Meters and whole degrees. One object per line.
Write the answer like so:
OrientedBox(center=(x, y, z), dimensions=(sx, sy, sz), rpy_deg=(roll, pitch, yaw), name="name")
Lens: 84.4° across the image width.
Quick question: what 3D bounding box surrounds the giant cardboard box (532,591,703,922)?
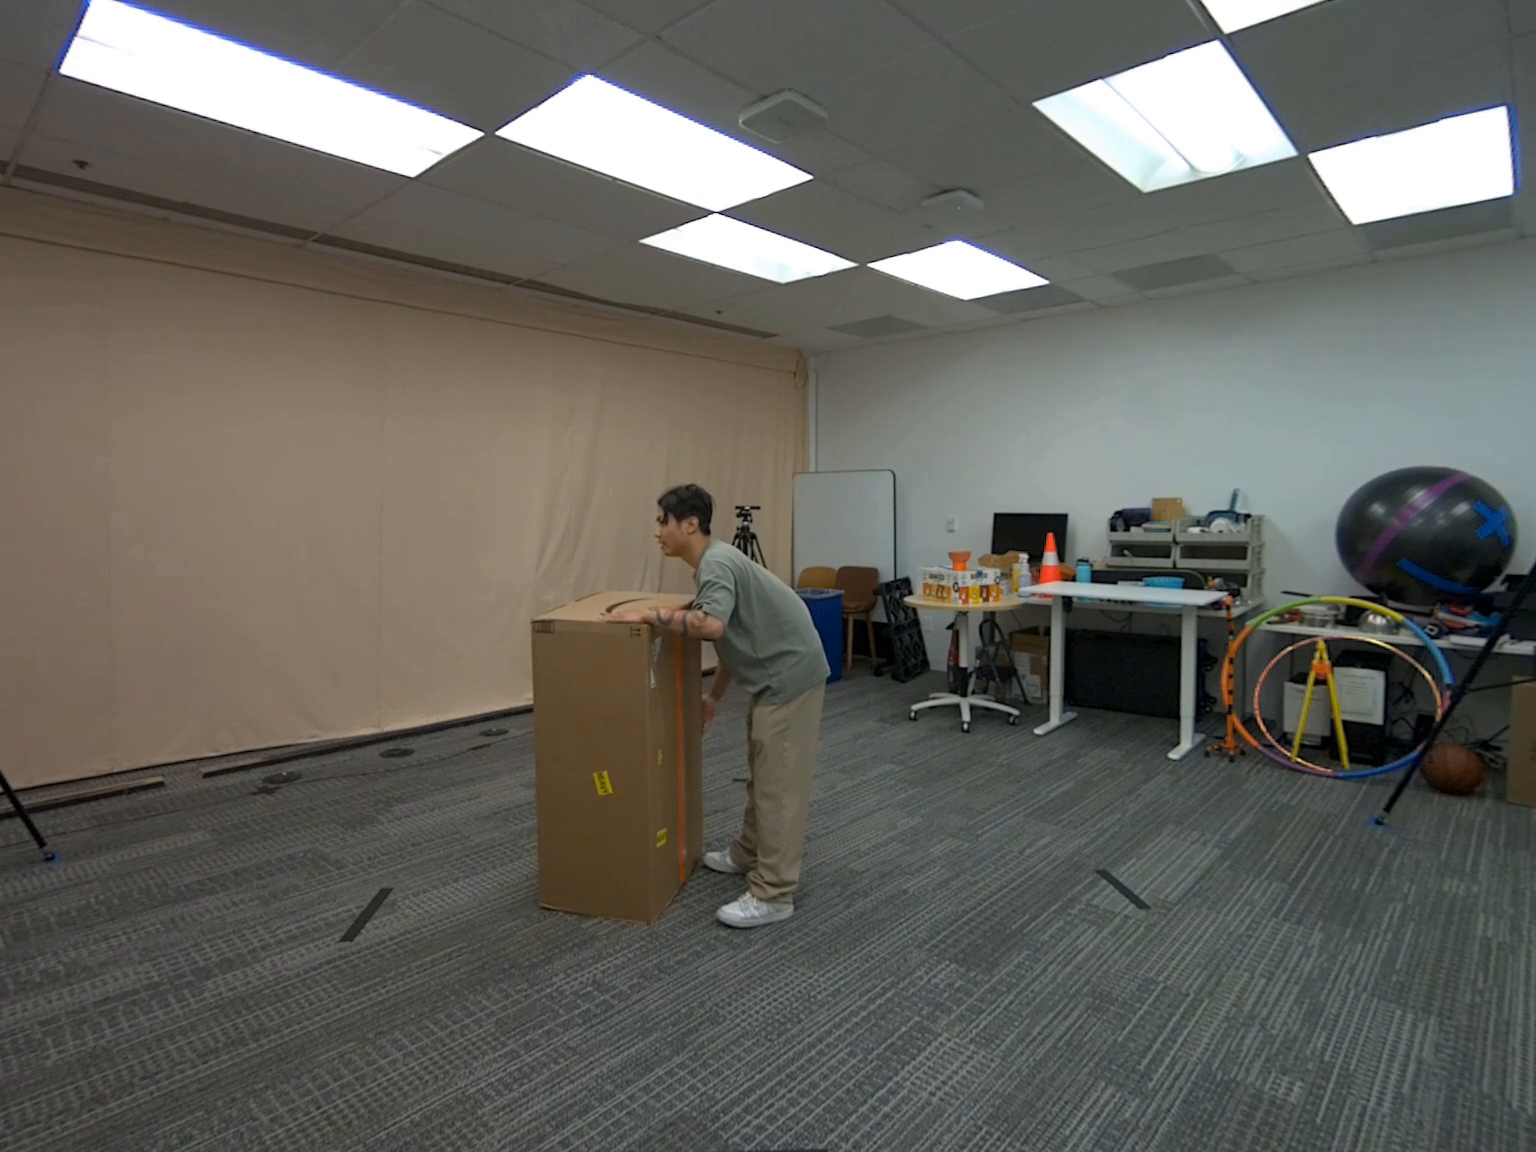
OrientedBox(center=(-0.526, 0.614, 3.072), dimensions=(0.434, 1.022, 0.570), rpy_deg=(1, 7, 15), name="giant cardboard box")
